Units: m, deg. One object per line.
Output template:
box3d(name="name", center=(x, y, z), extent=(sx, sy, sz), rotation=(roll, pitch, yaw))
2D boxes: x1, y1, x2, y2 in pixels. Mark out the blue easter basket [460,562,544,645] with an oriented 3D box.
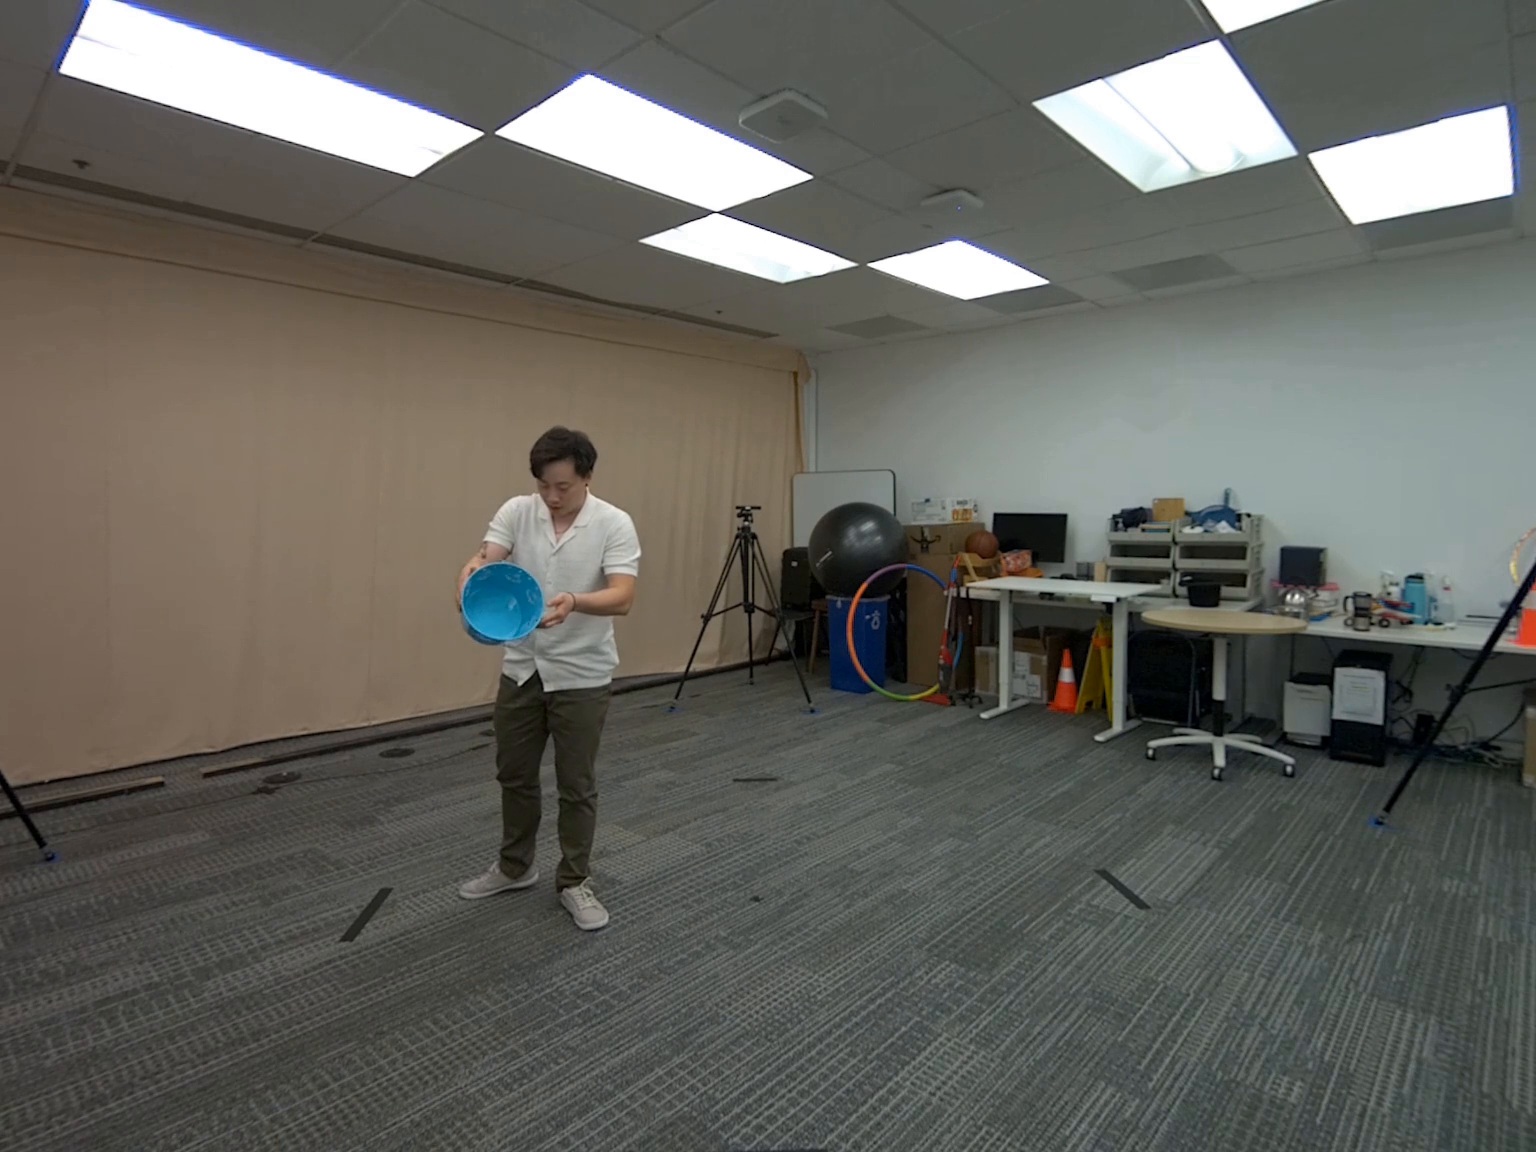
box3d(name="blue easter basket", center=(-0.772, 0.094, 2.438), extent=(0.237, 0.247, 0.158), rotation=(-2, -19, -30))
